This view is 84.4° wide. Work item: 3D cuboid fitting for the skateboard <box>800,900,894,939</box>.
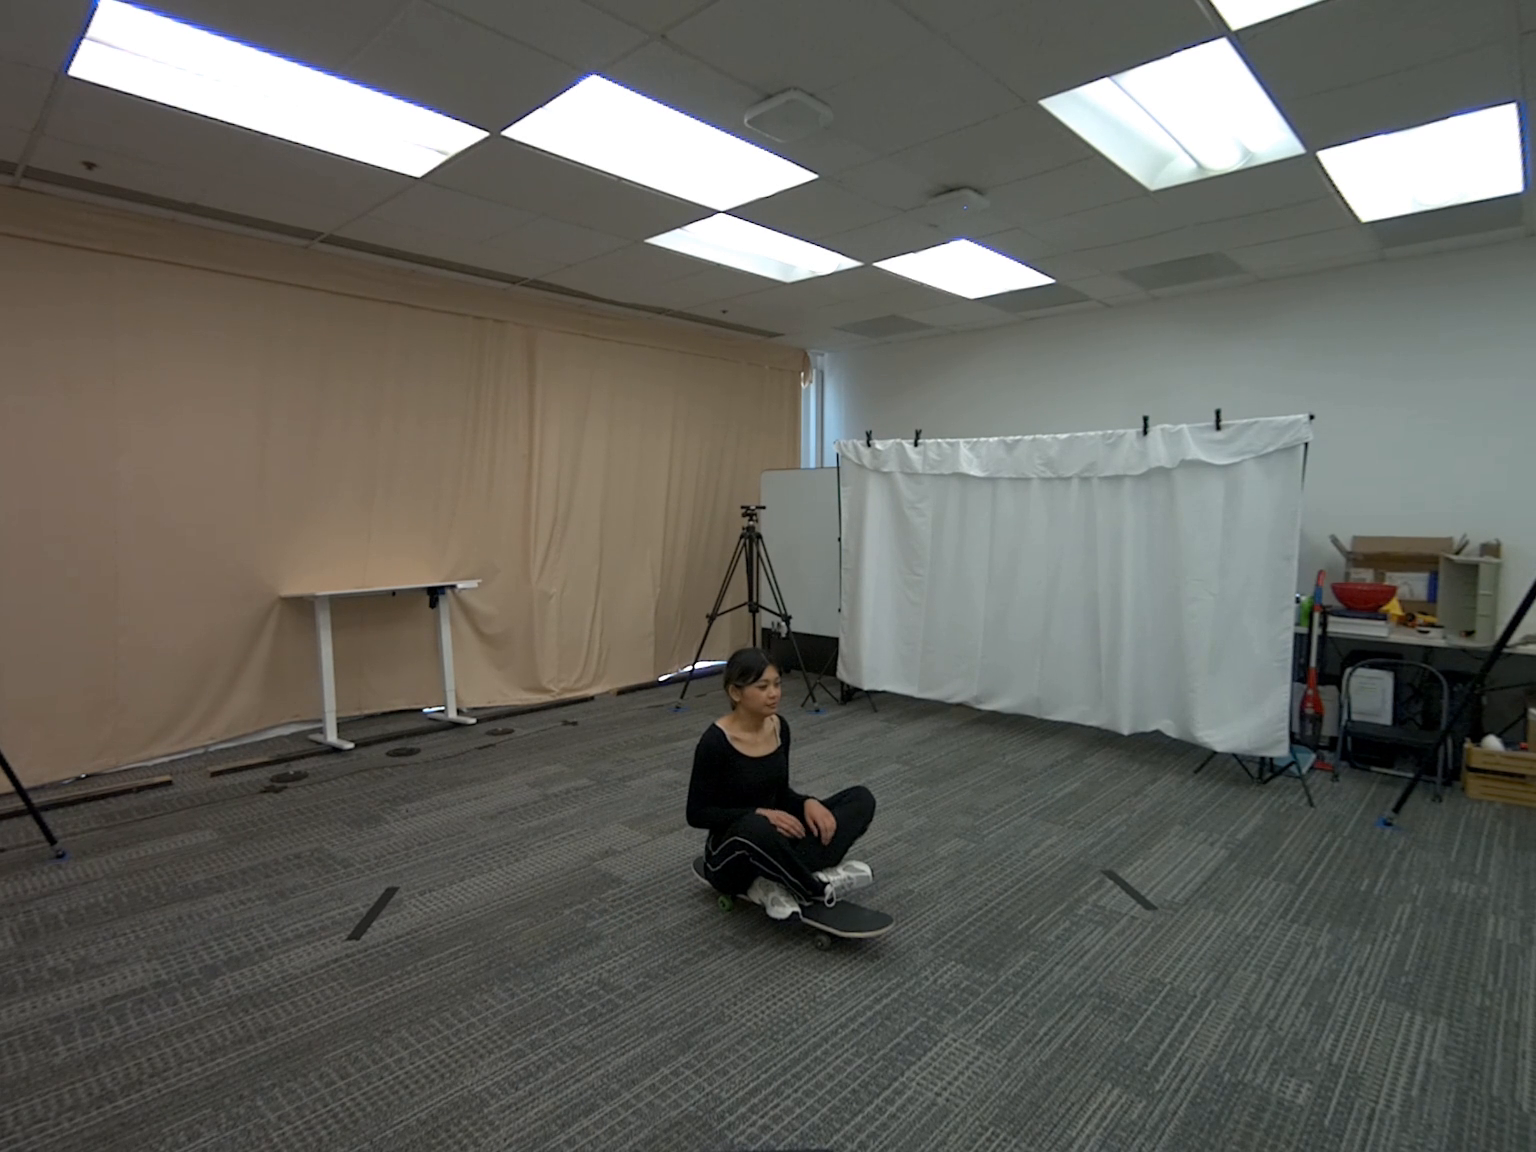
[{"bbox_3d":[0.071,1.098,2.820,0.810,0.110,0.188,2,5,37],"label":"skateboard"}]
